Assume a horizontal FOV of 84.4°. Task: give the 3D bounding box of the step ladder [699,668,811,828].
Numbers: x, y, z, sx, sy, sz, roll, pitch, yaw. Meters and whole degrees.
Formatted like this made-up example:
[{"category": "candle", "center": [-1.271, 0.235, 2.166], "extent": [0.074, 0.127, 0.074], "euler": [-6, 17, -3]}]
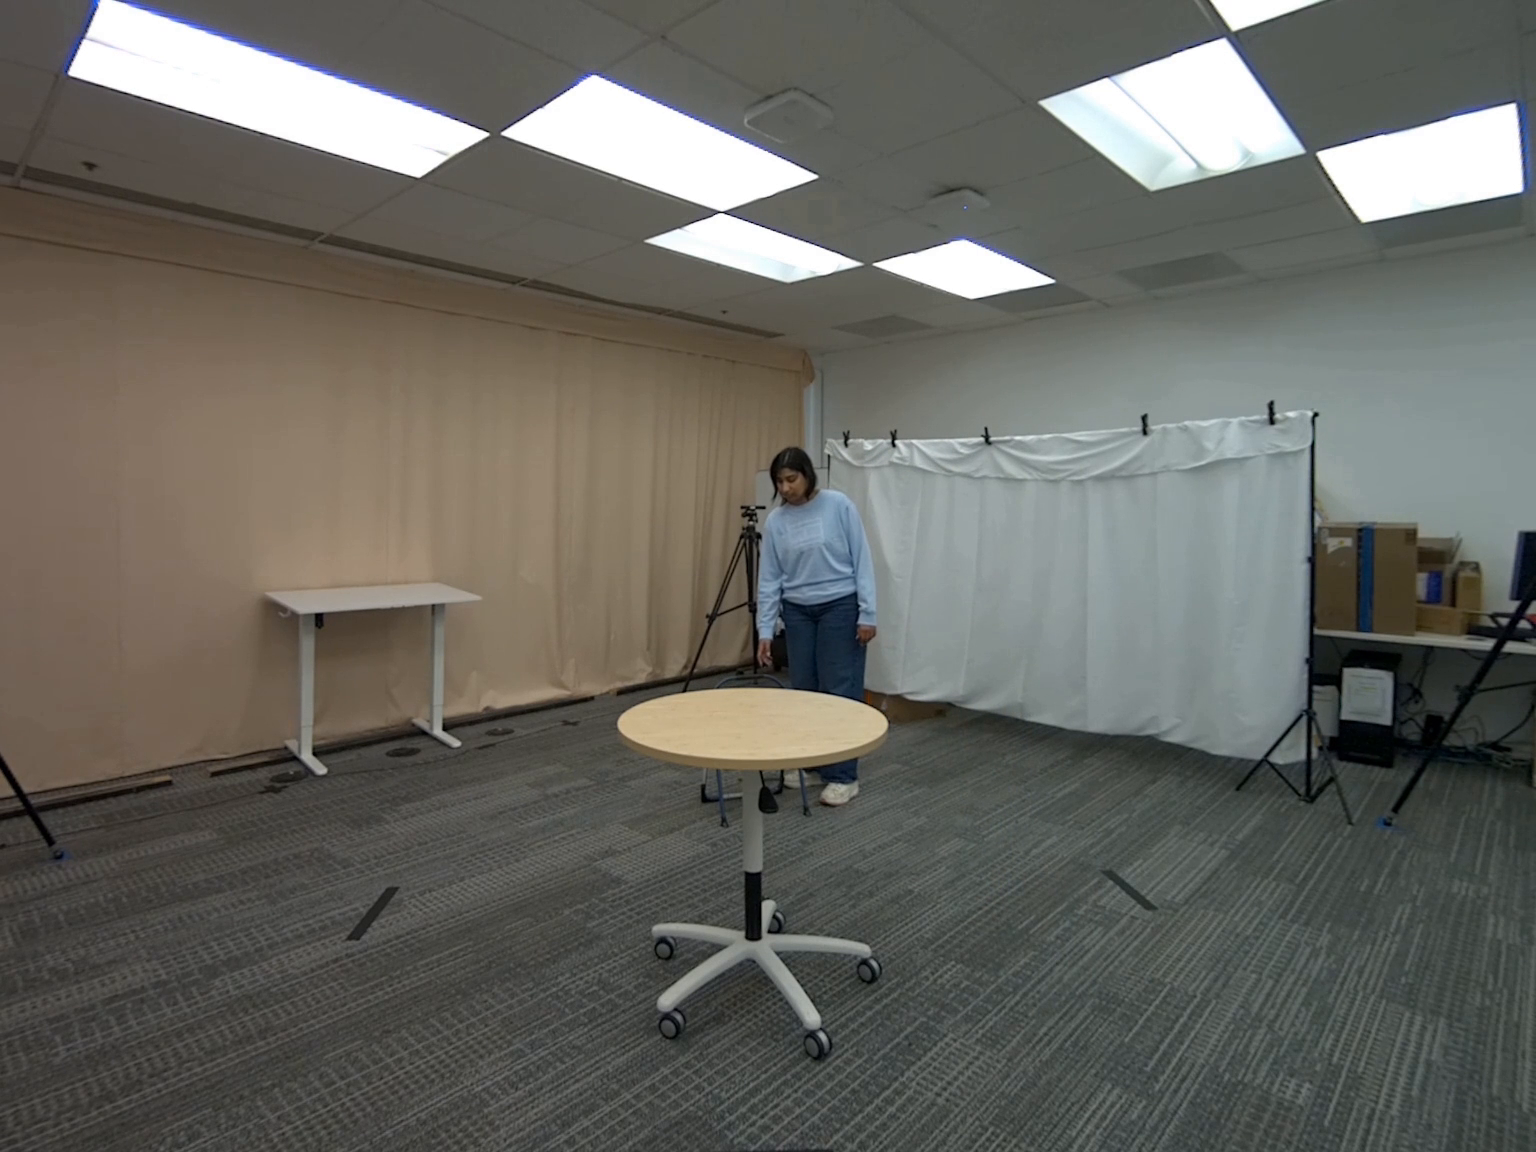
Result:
[{"category": "step ladder", "center": [-0.065, 0.770, 3.865], "extent": [0.422, 0.605, 0.357], "euler": [-1, 3, -20]}]
